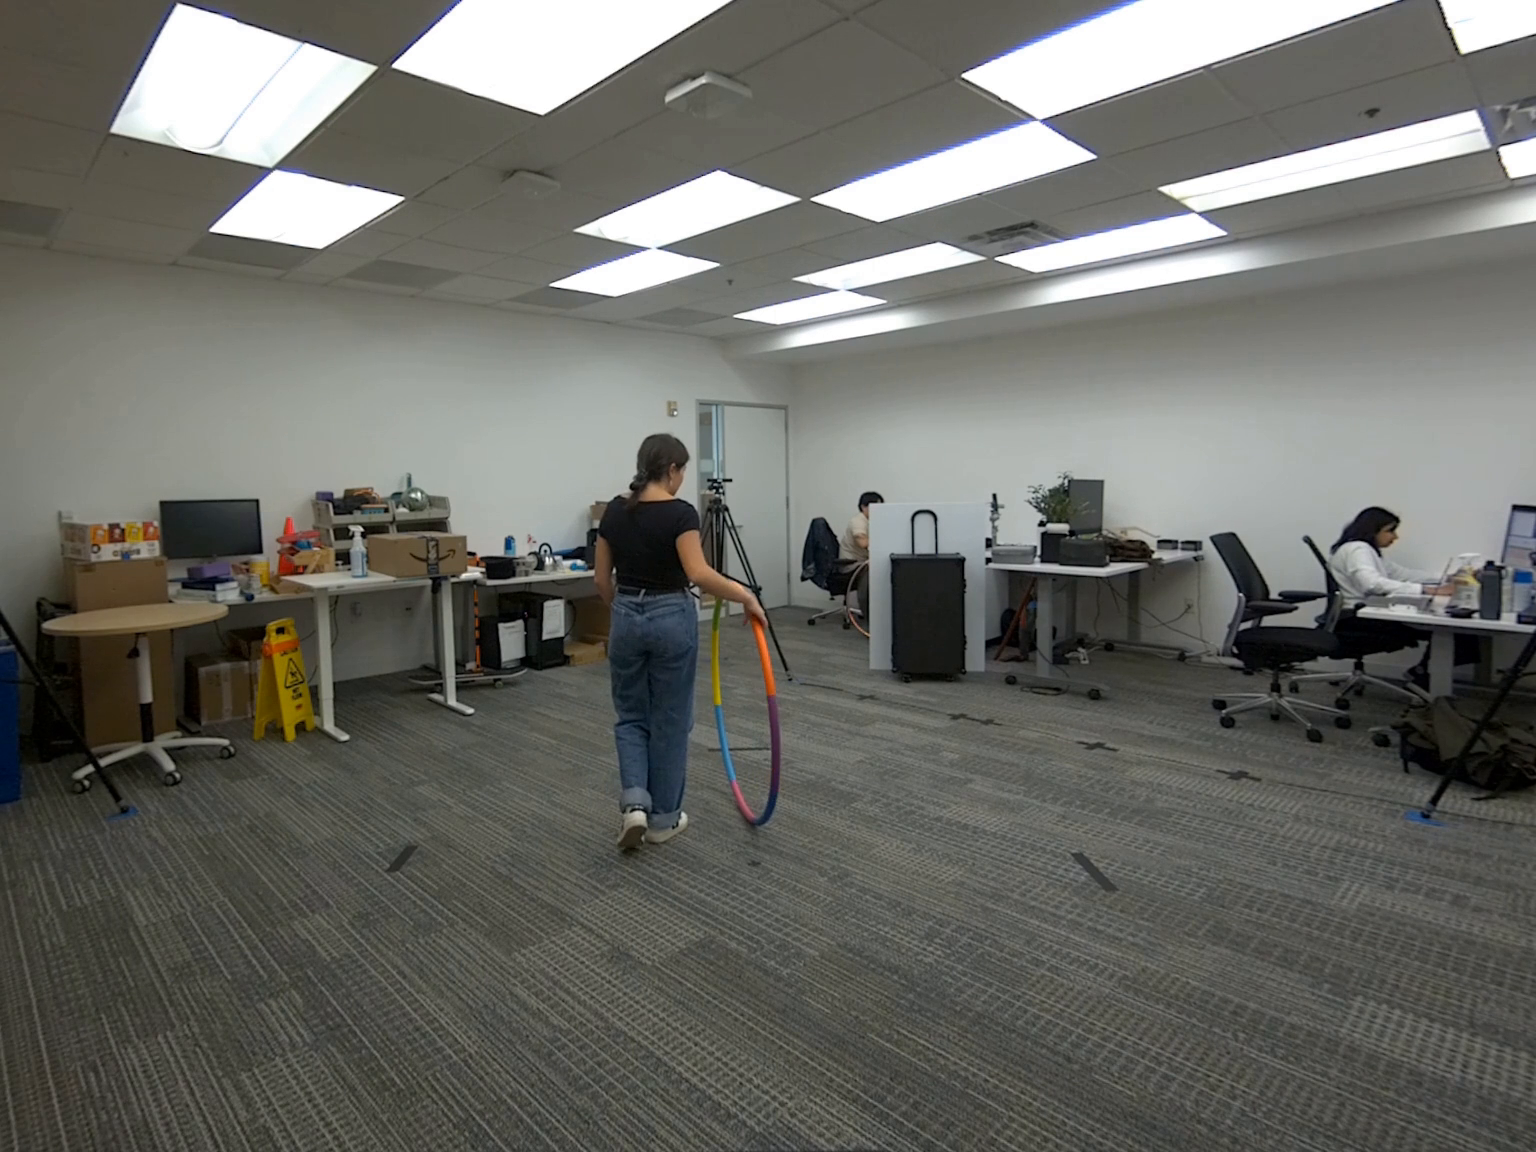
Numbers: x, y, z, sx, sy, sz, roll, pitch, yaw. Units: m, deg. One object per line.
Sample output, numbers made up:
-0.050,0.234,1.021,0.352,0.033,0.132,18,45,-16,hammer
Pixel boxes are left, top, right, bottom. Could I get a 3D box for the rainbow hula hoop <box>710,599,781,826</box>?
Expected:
-0.109,0.513,3.506,0.035,0.974,0.996,-4,5,-16,rainbow hula hoop
